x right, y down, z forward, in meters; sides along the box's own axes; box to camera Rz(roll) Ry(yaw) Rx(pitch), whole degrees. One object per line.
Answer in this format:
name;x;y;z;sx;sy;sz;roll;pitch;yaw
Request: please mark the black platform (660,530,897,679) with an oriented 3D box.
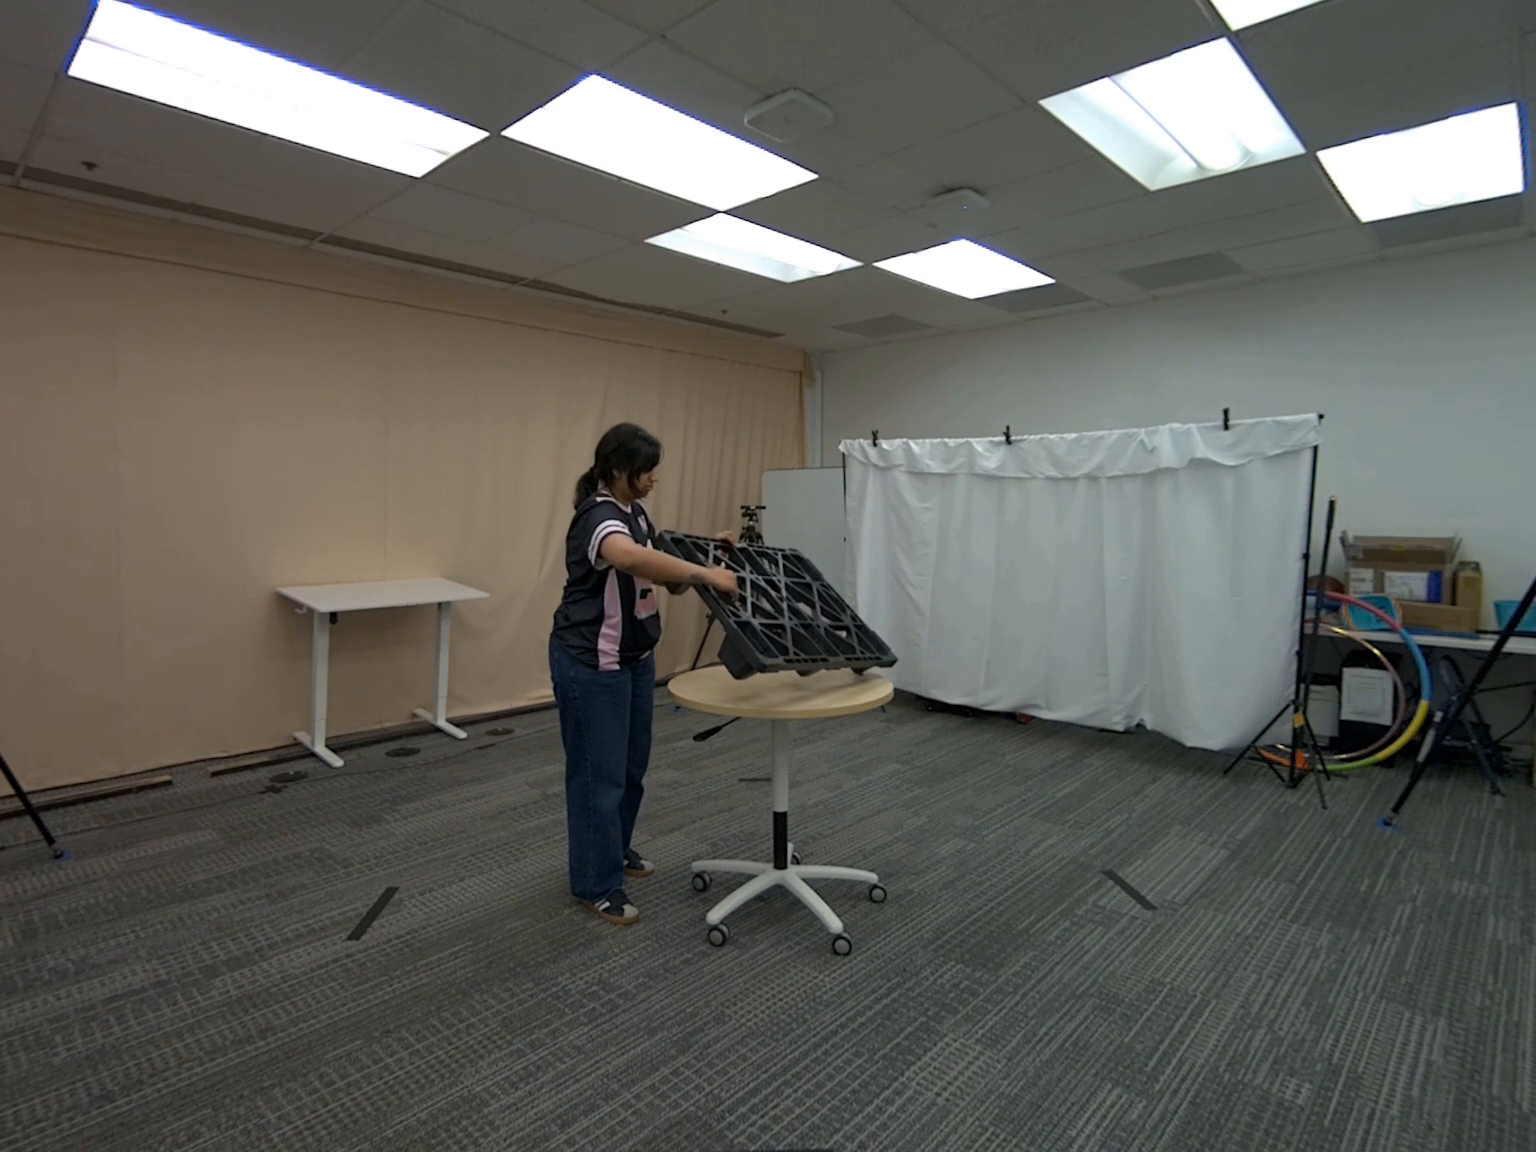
black platform;0.020;0.118;2.855;0.779;0.143;0.624;7;35;-51
